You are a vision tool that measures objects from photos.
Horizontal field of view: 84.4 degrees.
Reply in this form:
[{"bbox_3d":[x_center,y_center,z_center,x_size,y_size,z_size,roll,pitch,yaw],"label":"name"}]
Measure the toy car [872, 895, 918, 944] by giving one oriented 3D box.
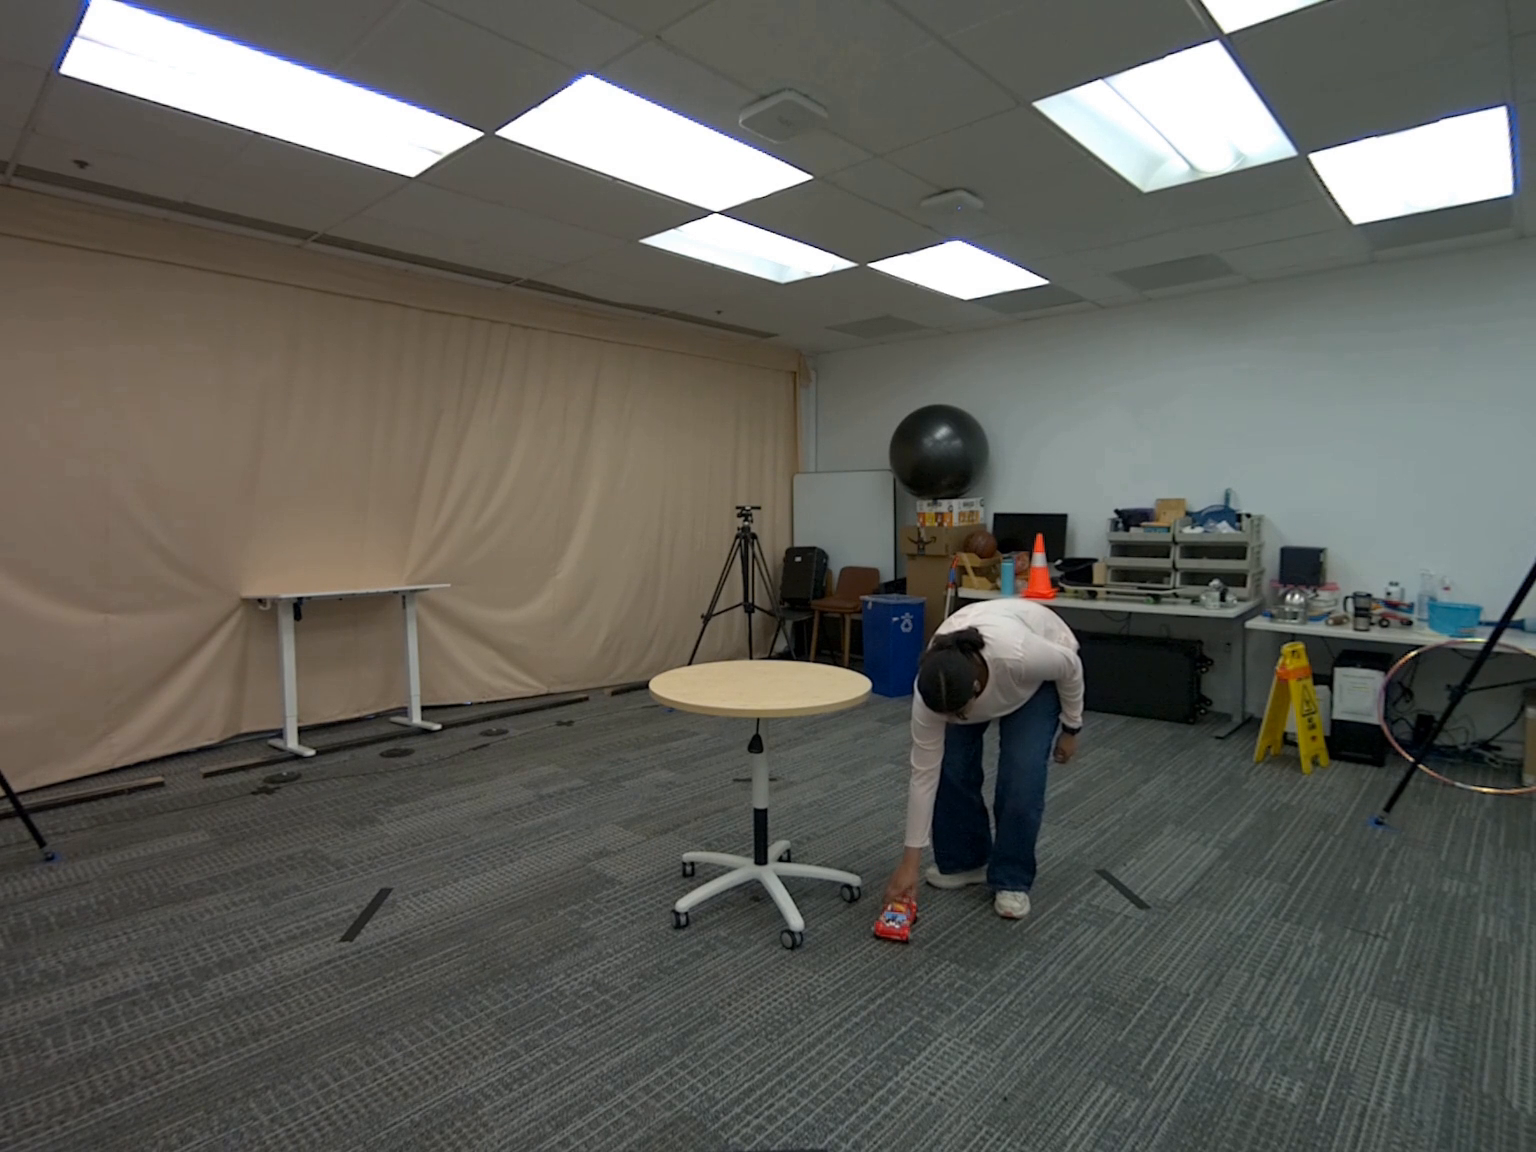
[{"bbox_3d":[0.430,1.128,2.784,0.133,0.082,0.252,0,16,19],"label":"toy car"}]
